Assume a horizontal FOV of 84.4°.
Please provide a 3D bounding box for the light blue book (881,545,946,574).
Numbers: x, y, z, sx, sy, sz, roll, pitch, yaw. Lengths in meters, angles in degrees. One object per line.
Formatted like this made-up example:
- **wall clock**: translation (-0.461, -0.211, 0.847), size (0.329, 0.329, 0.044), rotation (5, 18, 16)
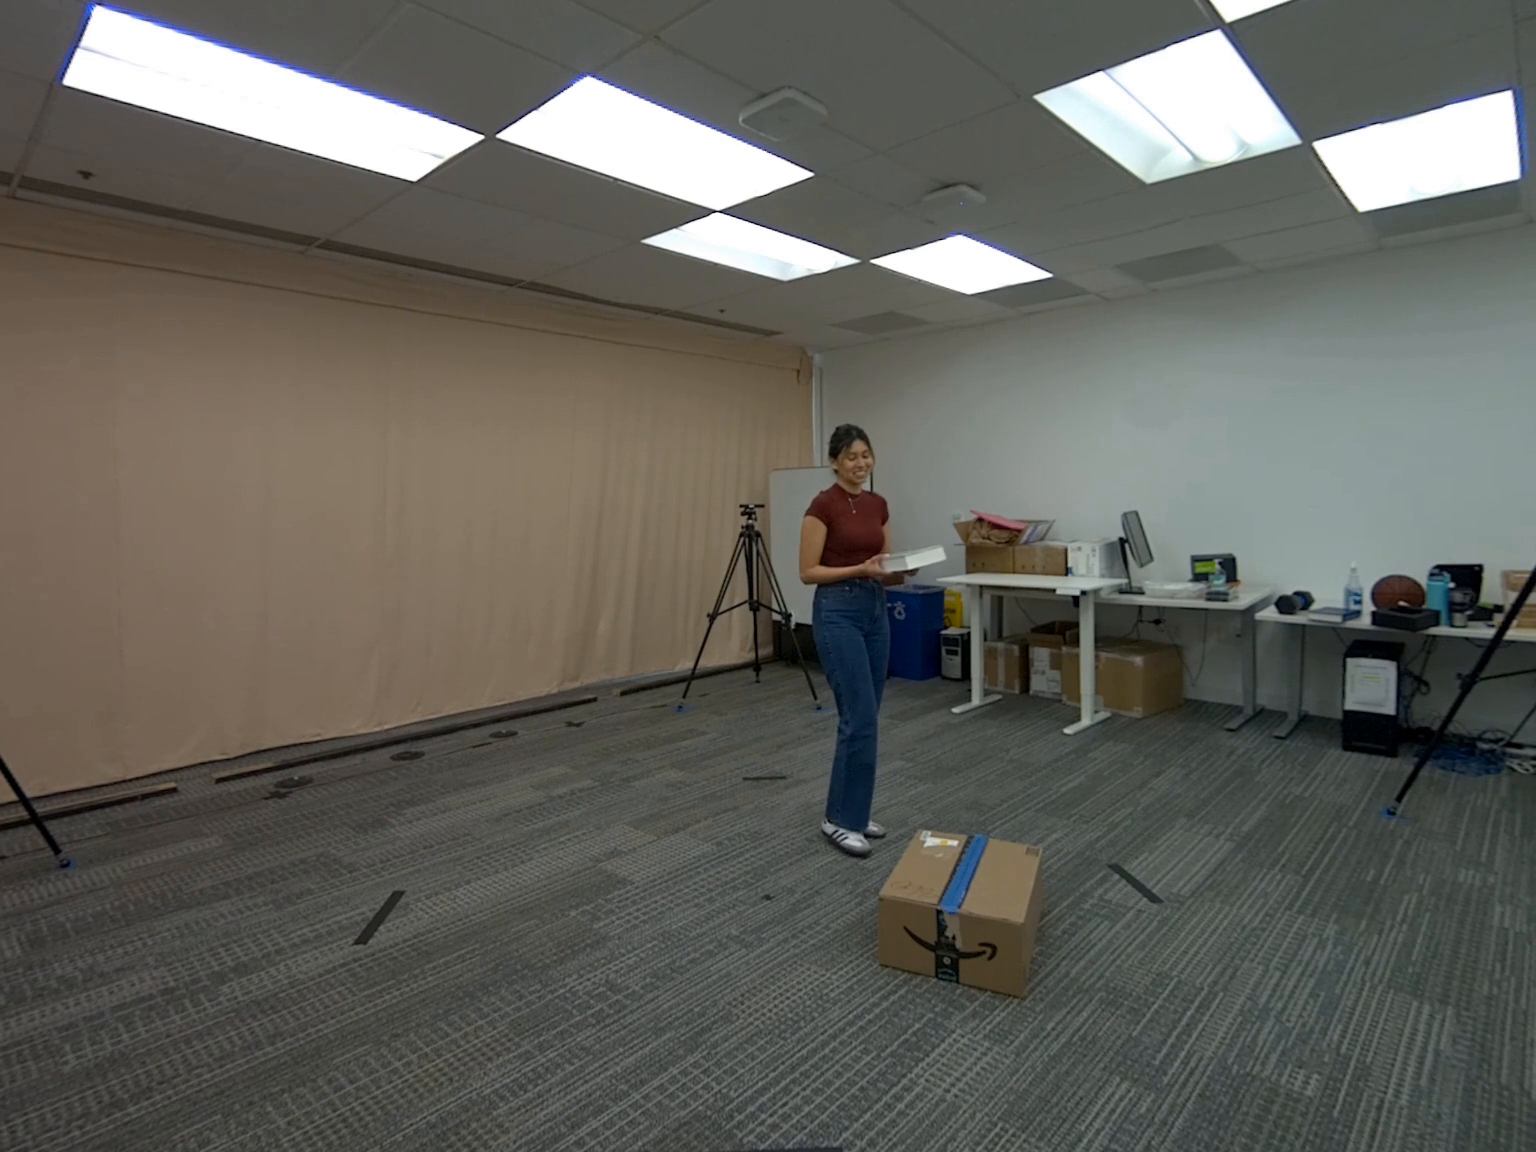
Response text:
- **light blue book**: translation (0.547, -0.063, 3.276), size (0.188, 0.059, 0.266), rotation (-15, 2, -25)
